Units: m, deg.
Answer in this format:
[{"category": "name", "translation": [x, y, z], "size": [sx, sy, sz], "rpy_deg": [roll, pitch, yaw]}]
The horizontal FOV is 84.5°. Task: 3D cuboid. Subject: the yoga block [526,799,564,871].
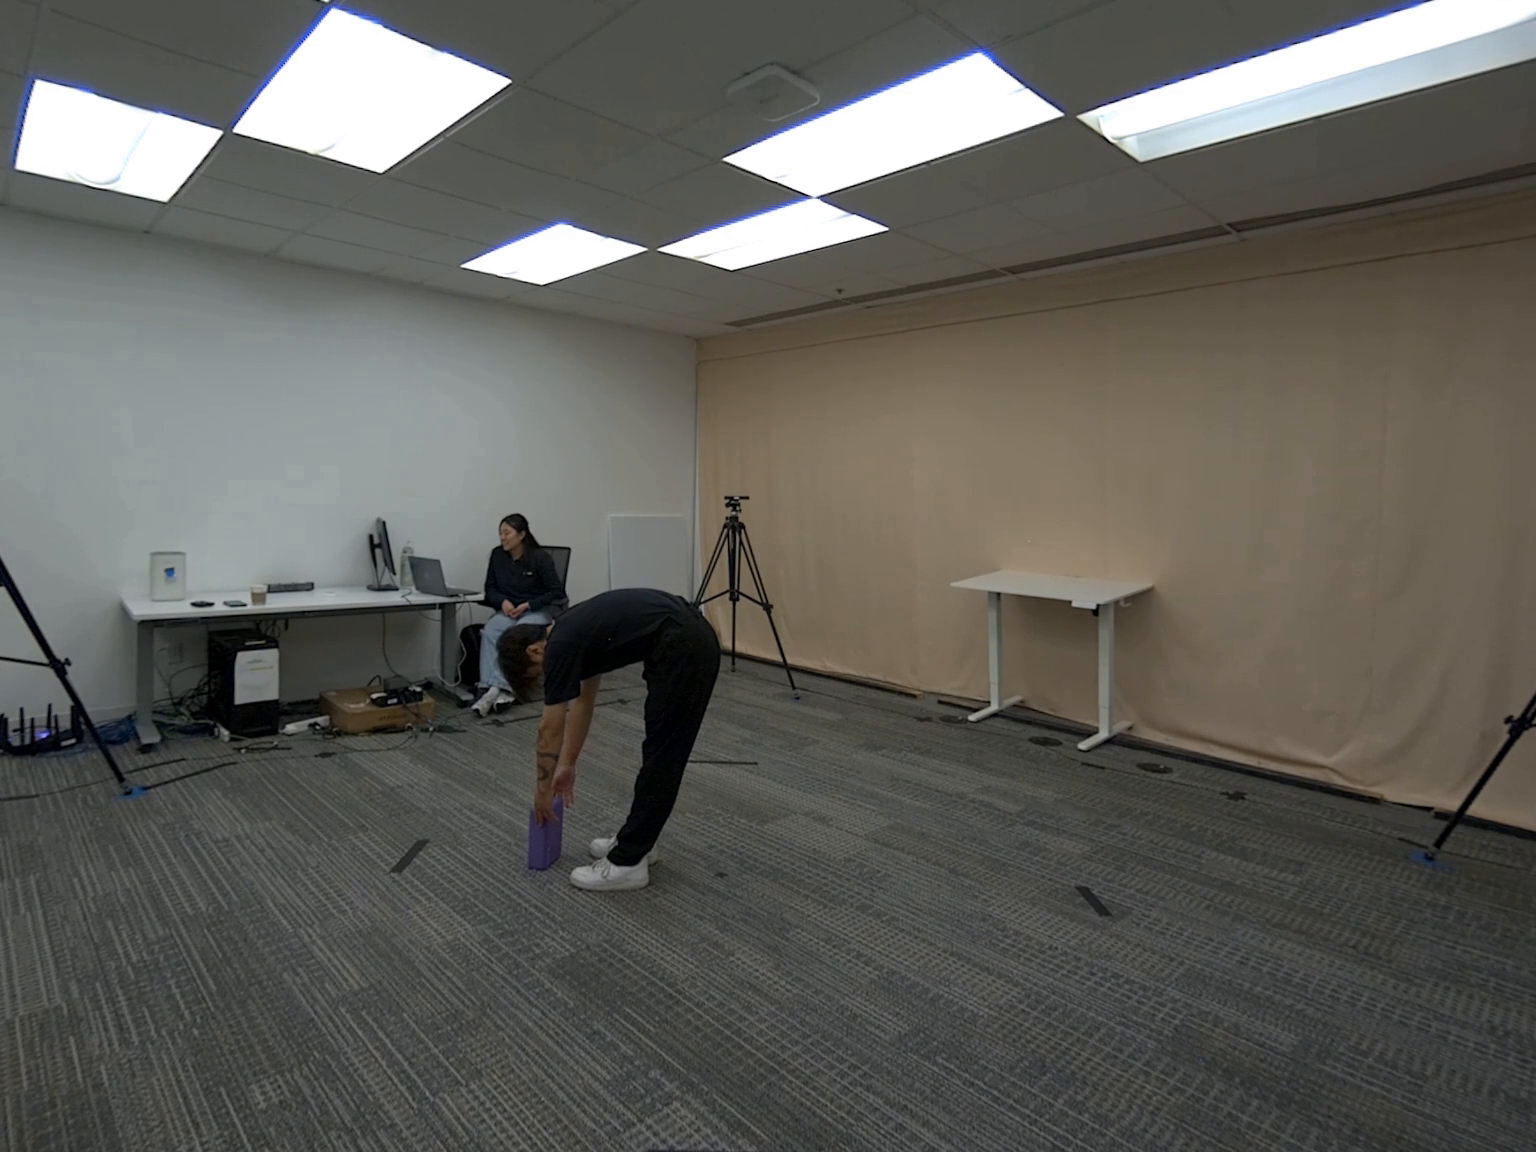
[{"category": "yoga block", "translation": [-0.838, 0.963, 3.172], "size": [0.077, 0.229, 0.148], "rpy_deg": [2, 3, 10]}]
